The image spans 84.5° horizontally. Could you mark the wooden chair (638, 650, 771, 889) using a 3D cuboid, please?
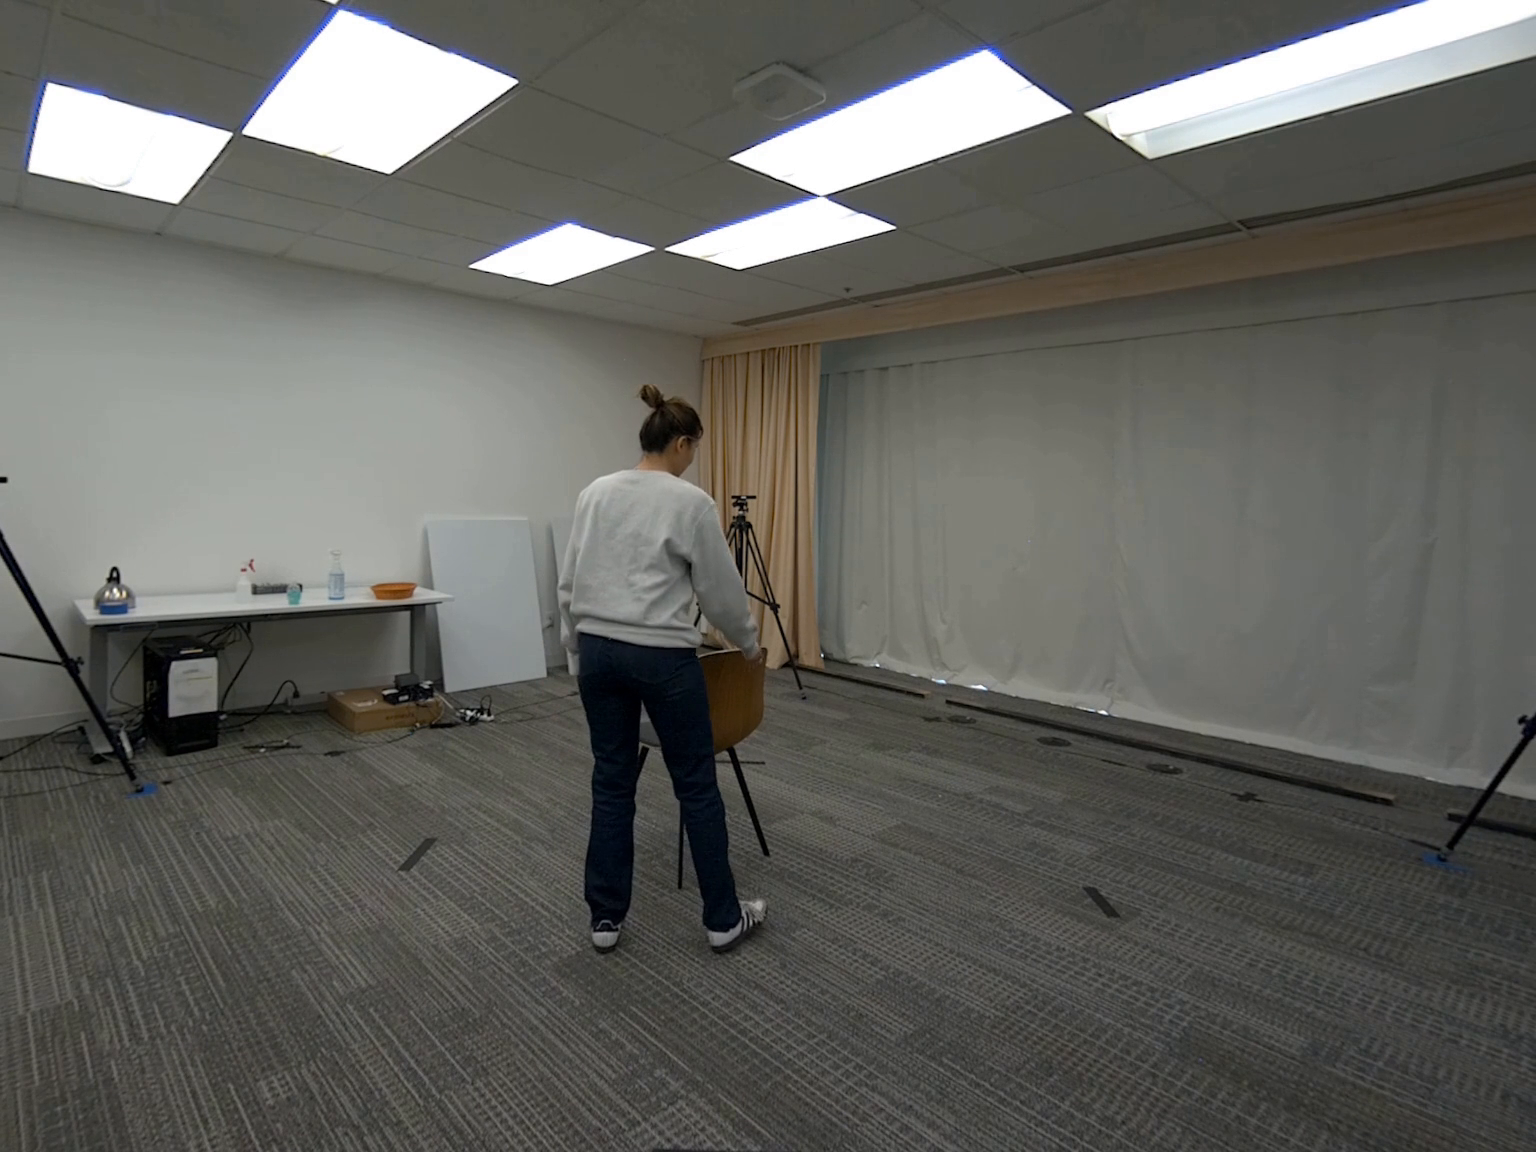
[{"bbox_3d":[-0.308,0.657,3.268,0.467,0.873,0.538,-3,10,-43],"label":"wooden chair"}]
